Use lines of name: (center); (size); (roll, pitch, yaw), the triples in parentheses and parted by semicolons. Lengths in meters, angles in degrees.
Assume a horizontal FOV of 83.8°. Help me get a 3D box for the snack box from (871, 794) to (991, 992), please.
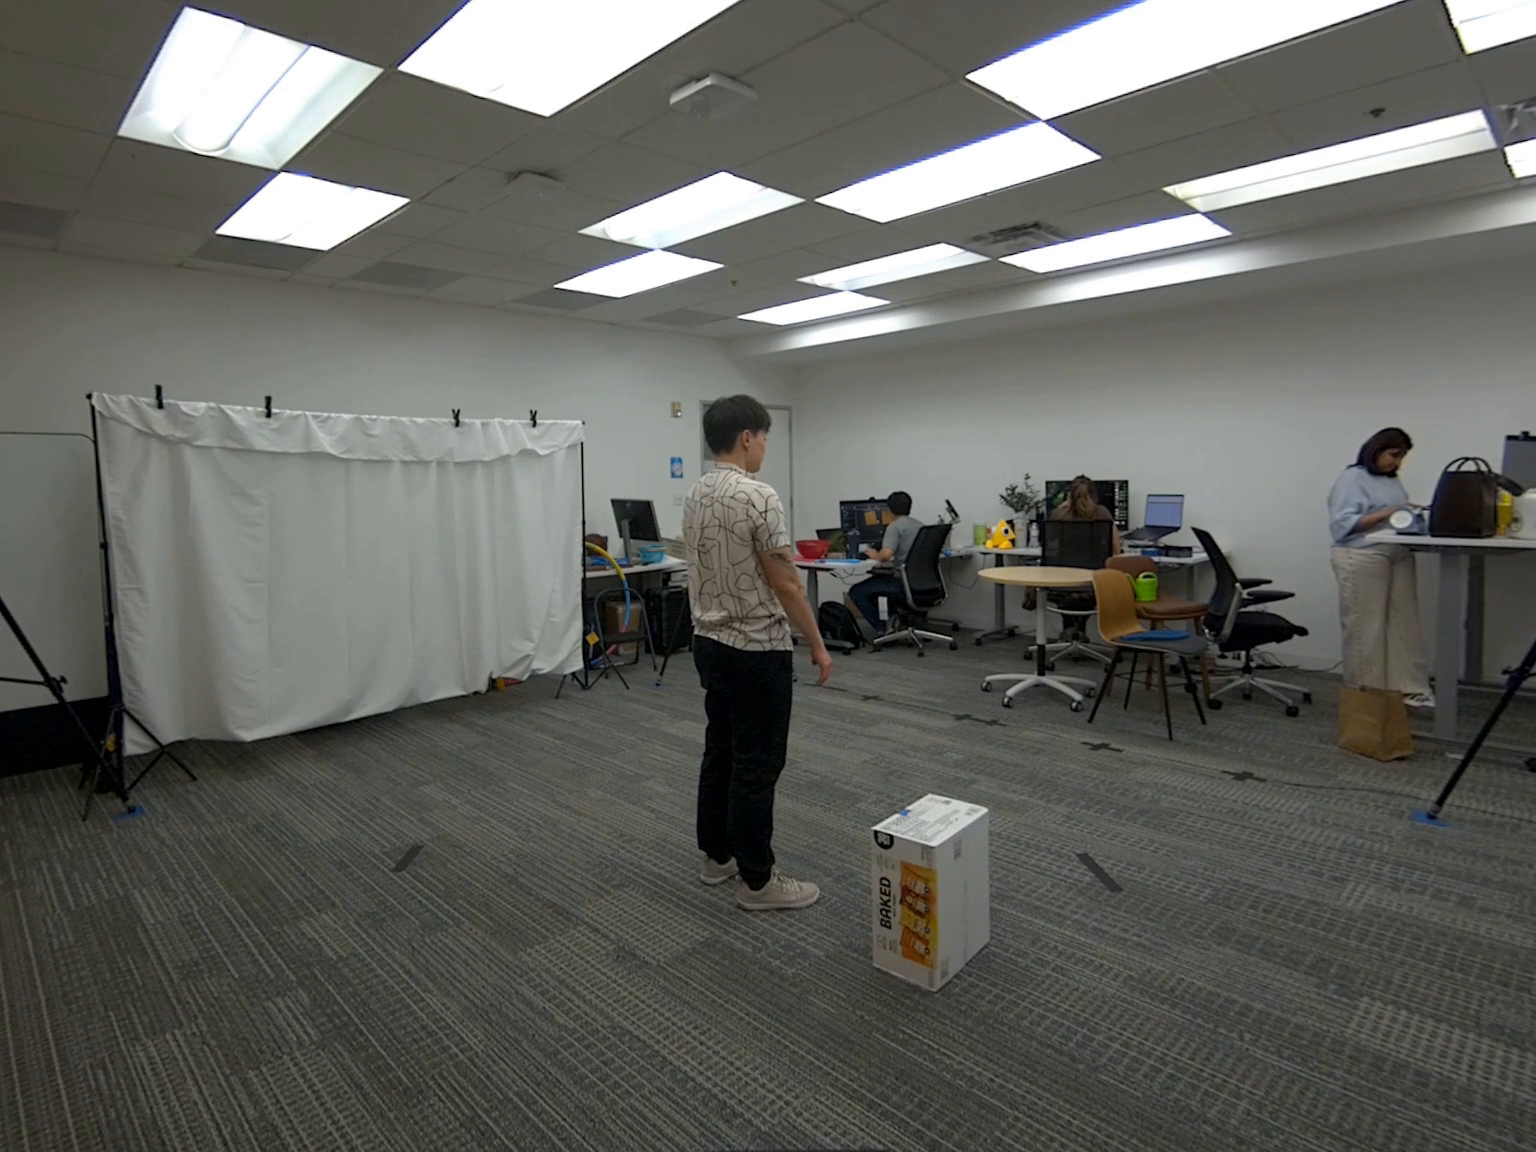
snack box: (0.484, 0.910, 2.490); (0.212, 0.404, 0.332); (2, 5, 40)
